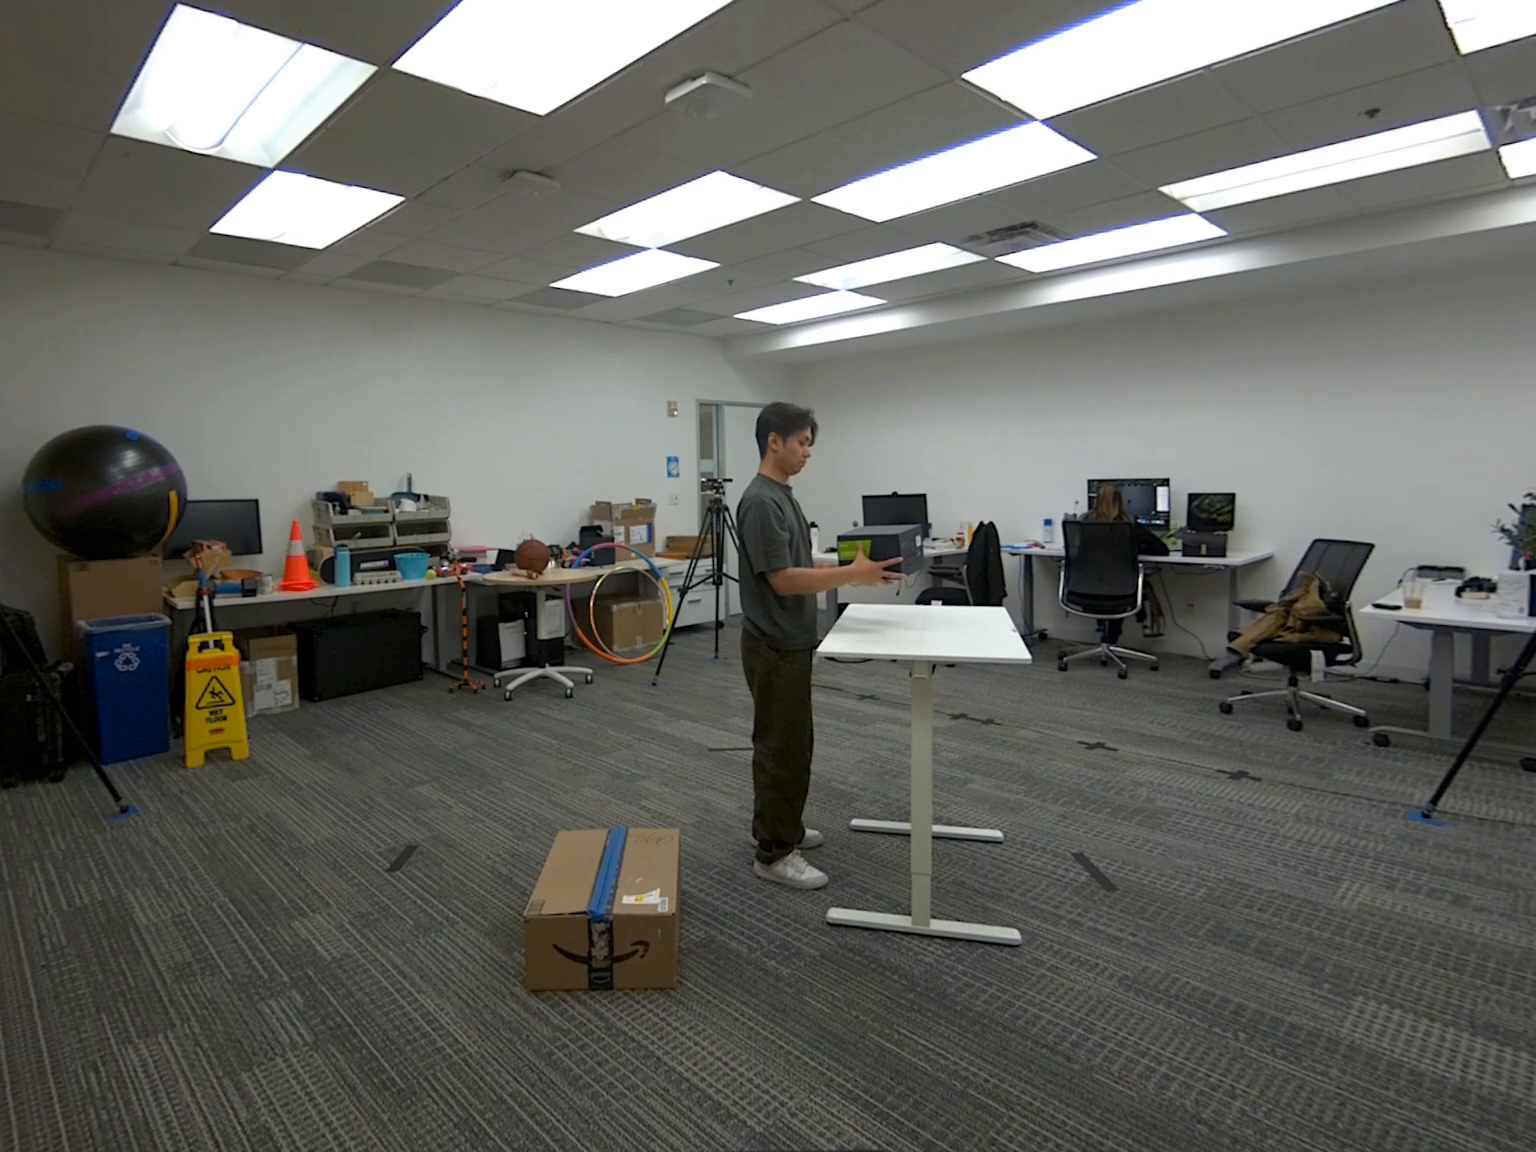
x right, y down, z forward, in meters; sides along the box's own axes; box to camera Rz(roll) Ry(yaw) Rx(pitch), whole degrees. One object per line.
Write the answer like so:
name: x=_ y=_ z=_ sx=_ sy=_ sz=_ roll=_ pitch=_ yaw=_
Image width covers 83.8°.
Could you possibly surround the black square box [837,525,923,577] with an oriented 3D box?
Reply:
black square box: x=0.391 y=-0.082 z=2.968 sx=0.234 sy=0.155 sz=0.213 roll=-1 pitch=10 yaw=31
